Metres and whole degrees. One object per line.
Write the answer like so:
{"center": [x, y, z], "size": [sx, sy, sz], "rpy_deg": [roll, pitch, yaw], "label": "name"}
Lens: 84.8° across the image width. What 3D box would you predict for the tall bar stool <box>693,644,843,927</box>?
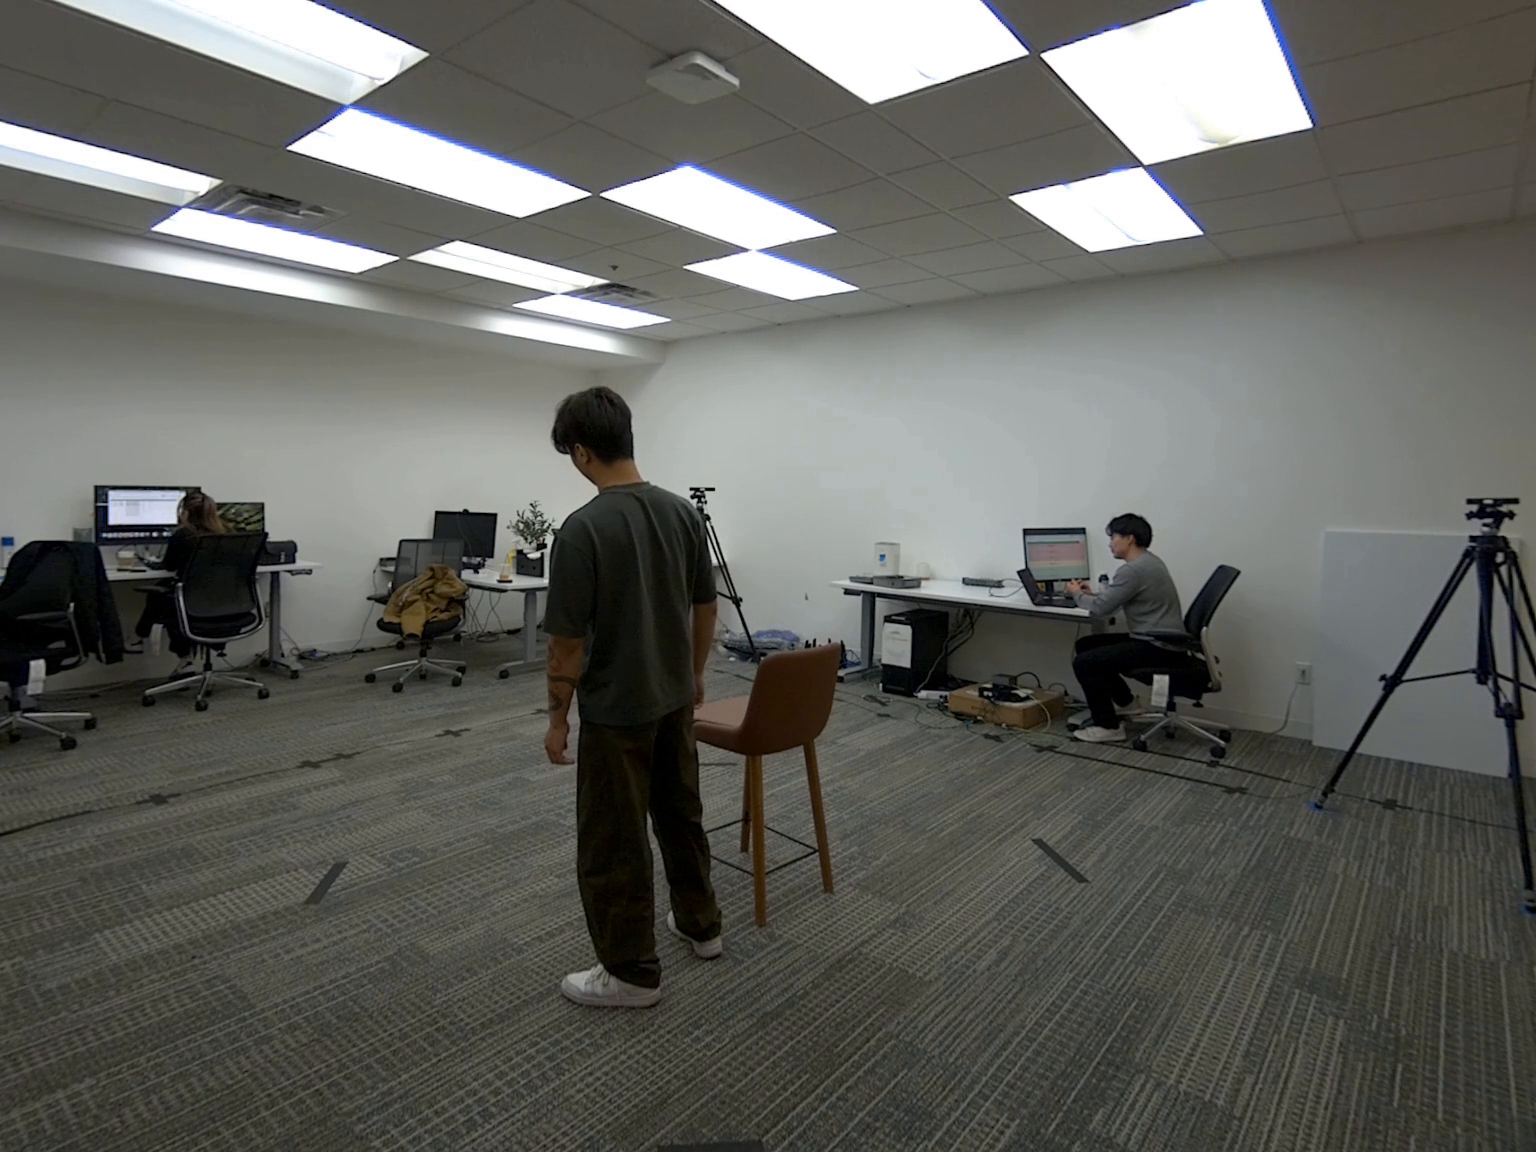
{"center": [-0.052, 0.649, 2.959], "size": [0.484, 0.886, 0.442], "rpy_deg": [7, 6, 44], "label": "tall bar stool"}
